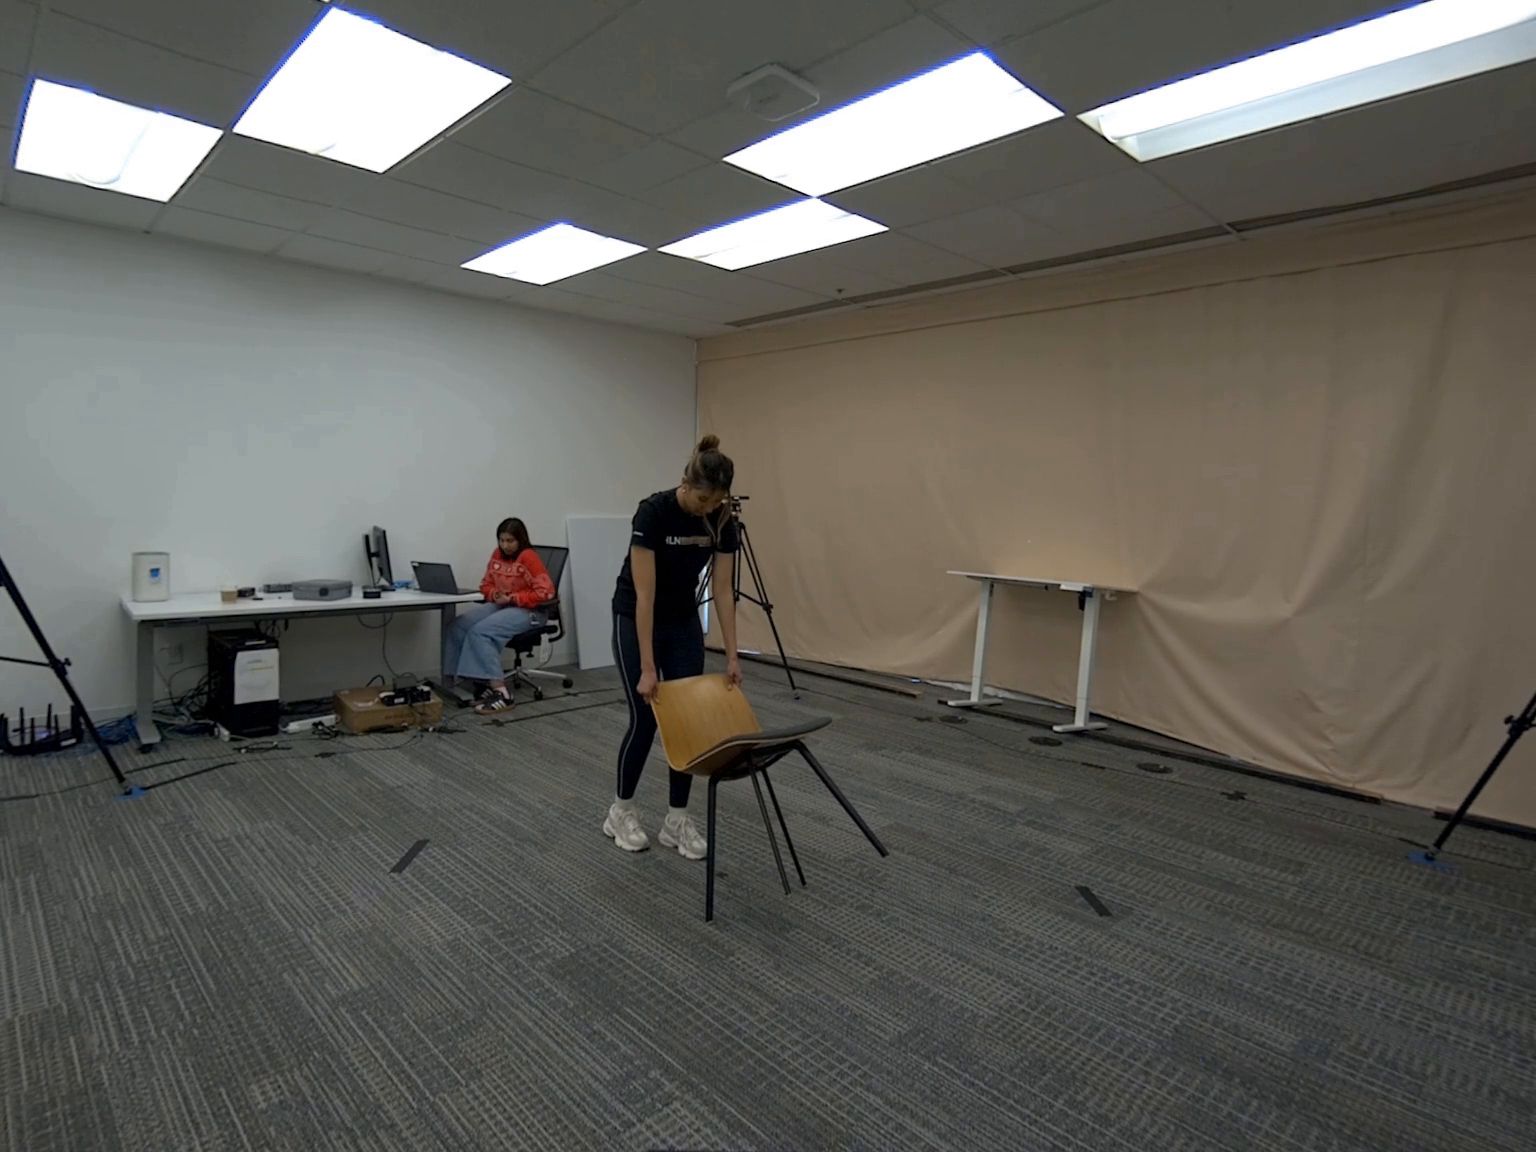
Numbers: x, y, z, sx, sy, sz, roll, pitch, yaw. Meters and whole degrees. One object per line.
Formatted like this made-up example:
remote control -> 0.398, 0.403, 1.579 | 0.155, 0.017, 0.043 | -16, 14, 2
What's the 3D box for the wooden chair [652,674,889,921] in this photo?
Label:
wooden chair -> -0.046, 0.637, 2.879 | 0.467, 0.897, 0.523 | -2, -32, -40
